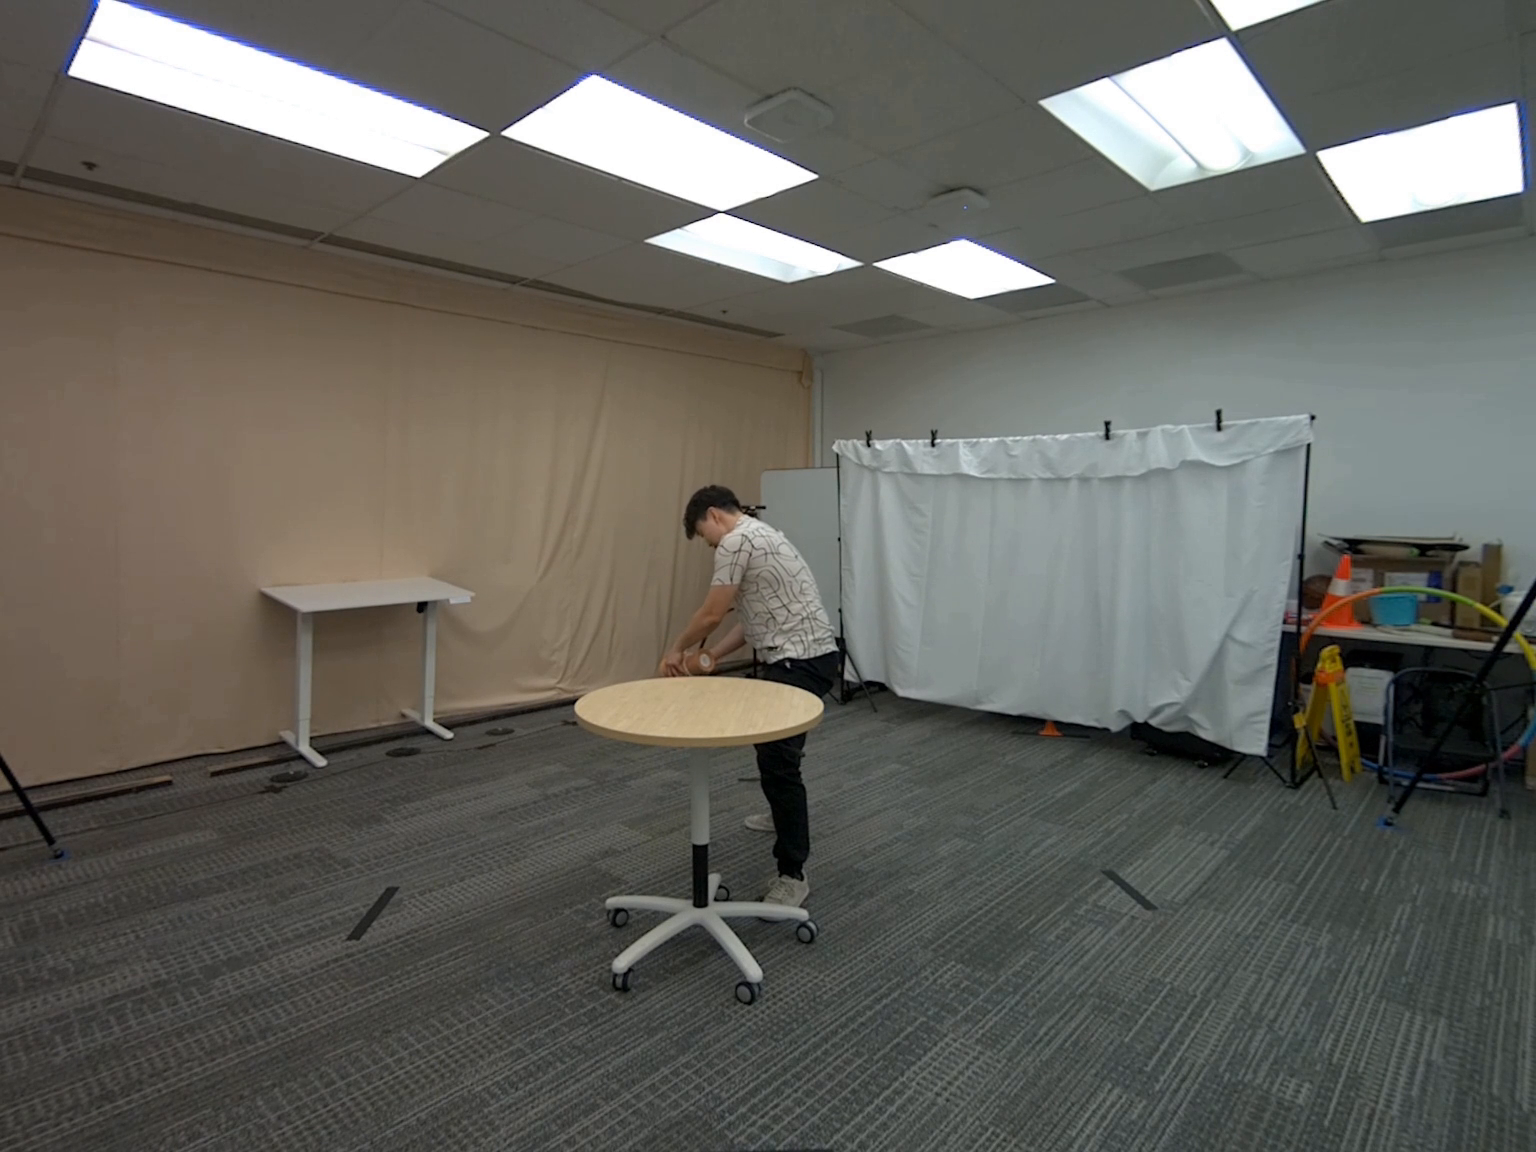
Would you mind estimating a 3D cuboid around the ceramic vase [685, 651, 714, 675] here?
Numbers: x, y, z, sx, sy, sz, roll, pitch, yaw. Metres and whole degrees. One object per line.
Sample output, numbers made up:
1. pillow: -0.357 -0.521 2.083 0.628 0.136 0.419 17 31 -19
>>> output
1. ceramic vase: -0.319 0.369 3.405 0.224 0.161 0.130 -26 -18 39
